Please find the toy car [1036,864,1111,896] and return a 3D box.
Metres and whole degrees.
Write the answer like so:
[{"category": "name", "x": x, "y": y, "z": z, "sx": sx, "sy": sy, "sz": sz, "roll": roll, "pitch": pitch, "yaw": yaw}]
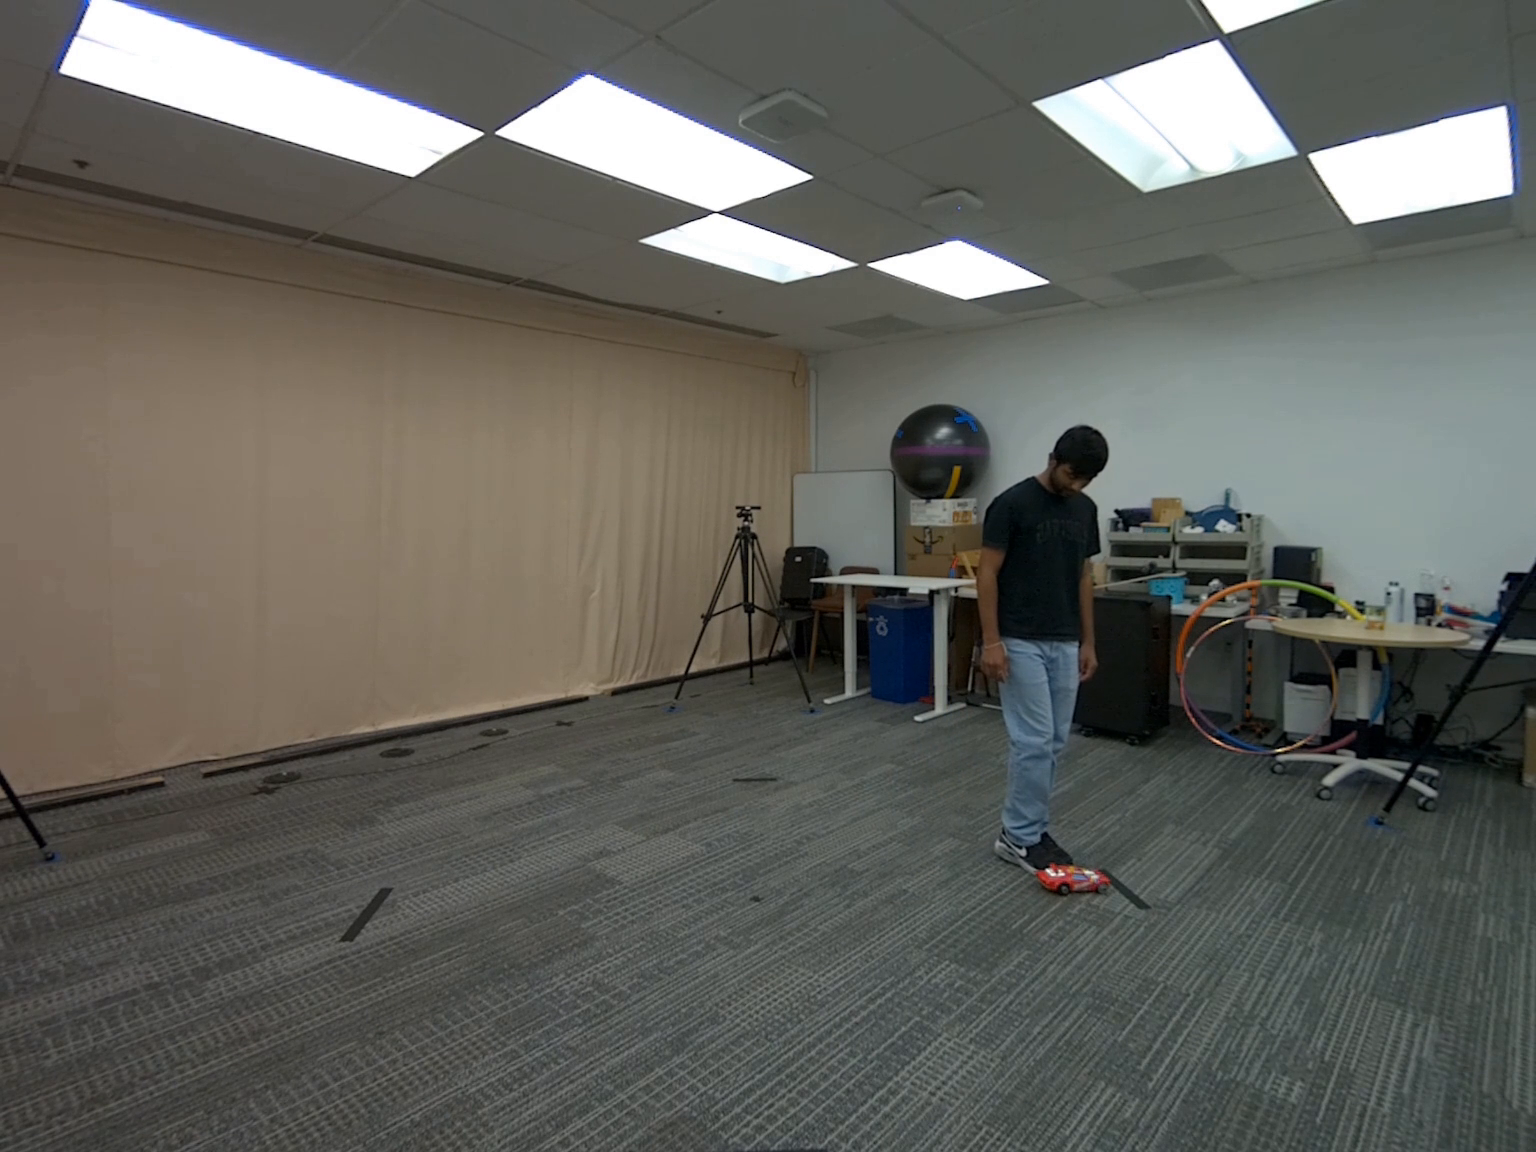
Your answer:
[{"category": "toy car", "x": 1.097, "y": 1.101, "z": 3.060, "sx": 0.253, "sy": 0.083, "sz": 0.131, "roll": 10, "pitch": 5, "yaw": -5}]
